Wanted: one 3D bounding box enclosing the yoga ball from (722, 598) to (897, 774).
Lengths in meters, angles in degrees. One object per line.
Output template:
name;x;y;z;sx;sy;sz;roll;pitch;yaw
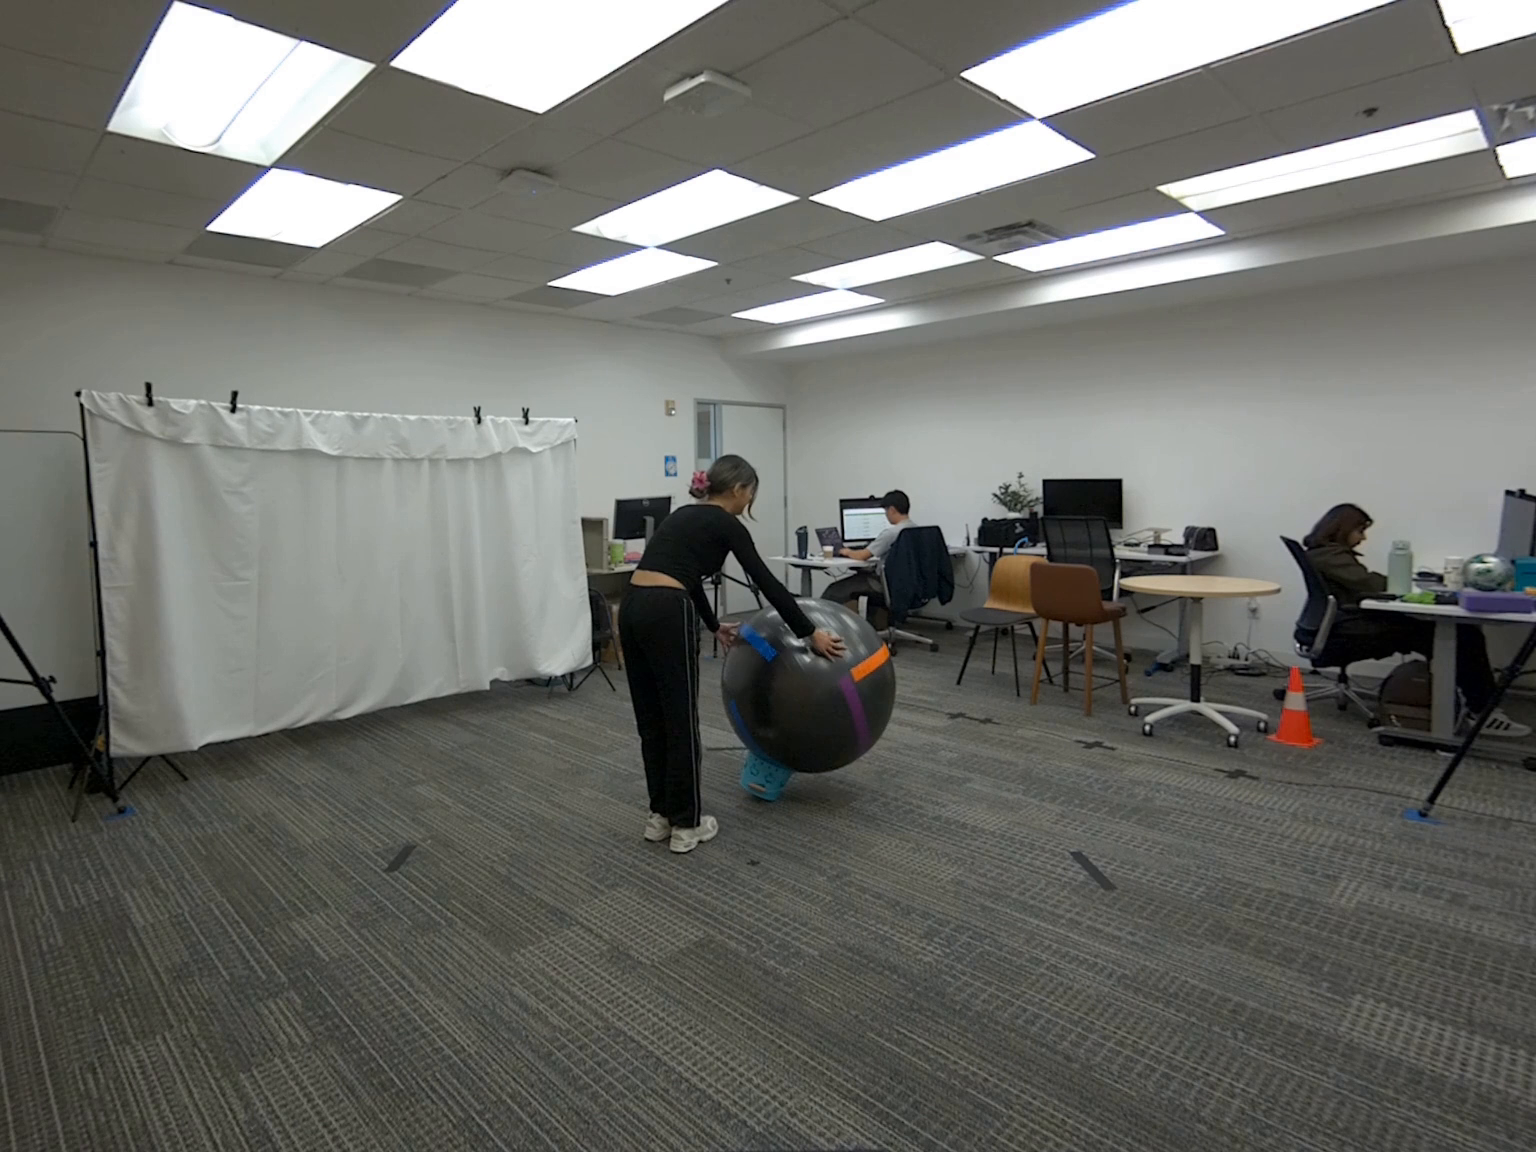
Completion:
yoga ball;0.175;0.475;3.727;0.757;0.755;0.762;-1;5;-2
